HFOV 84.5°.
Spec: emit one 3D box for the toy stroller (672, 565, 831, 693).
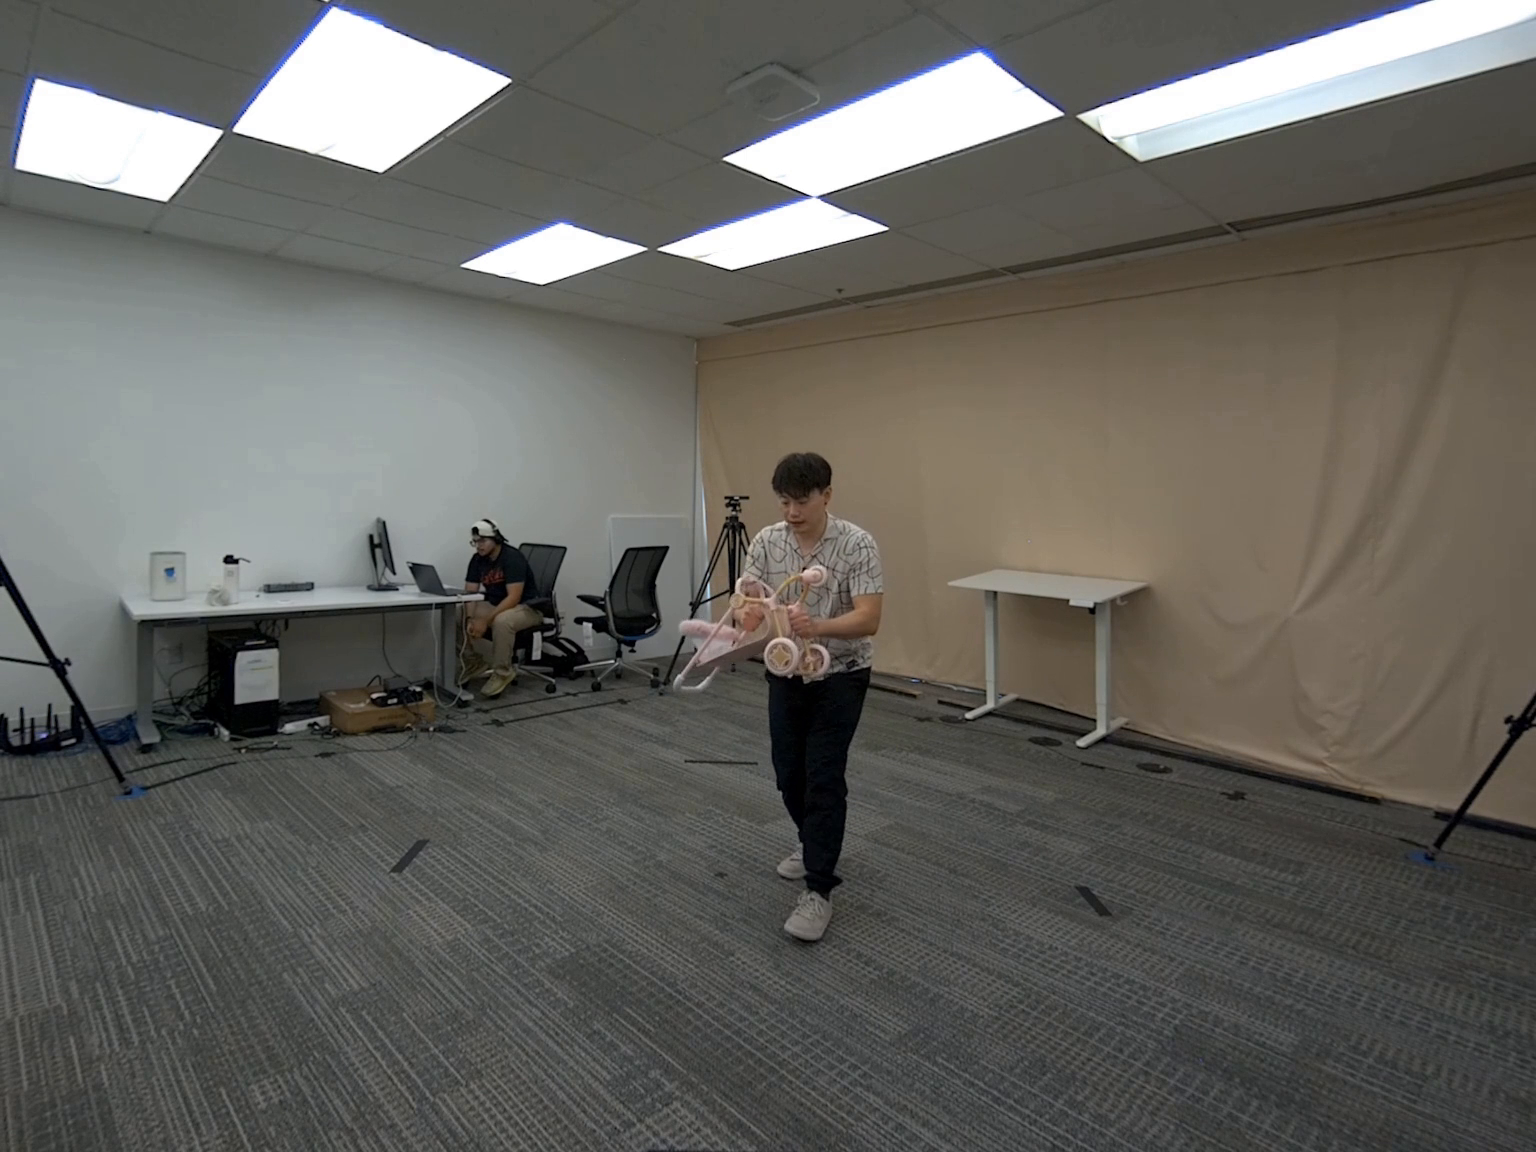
[{"bbox_3d":[-0.055,0.169,2.600,0.543,0.344,0.275,-11,-9,25],"label":"toy stroller"}]
